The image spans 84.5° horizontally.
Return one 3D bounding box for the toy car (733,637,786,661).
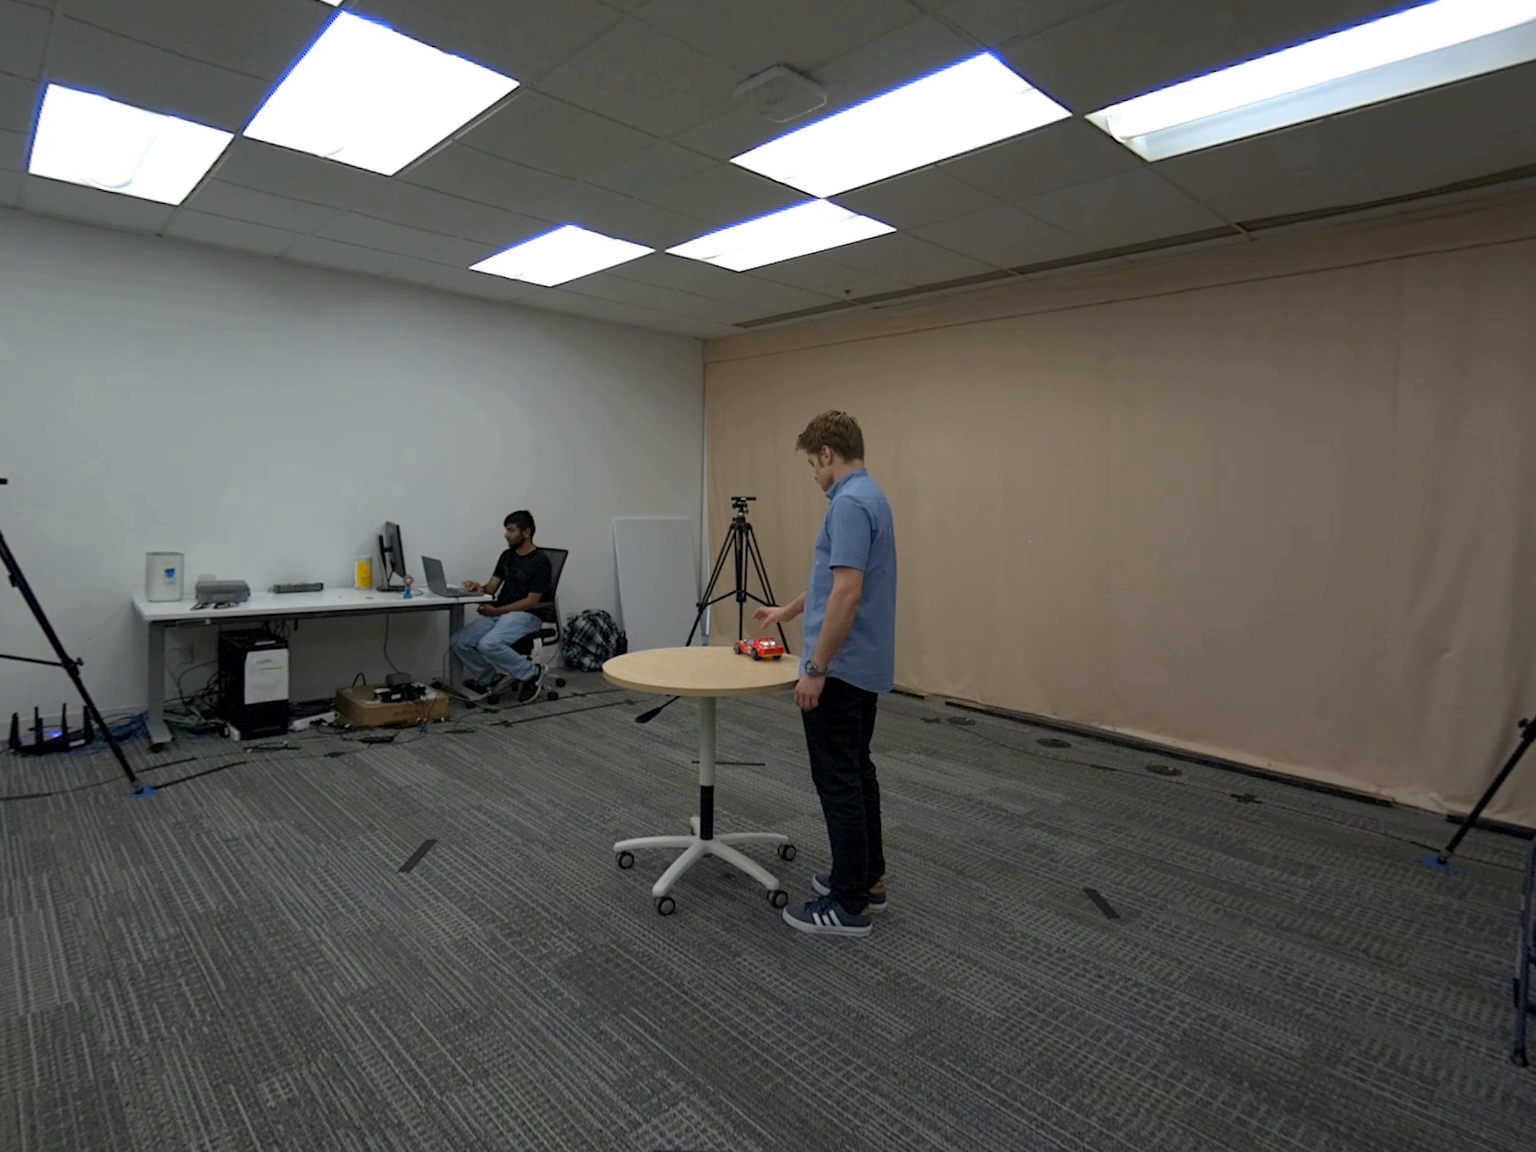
[{"bbox_3d":[-0.032,0.281,3.225,0.128,0.083,0.258,-1,-5,-28],"label":"toy car"}]
